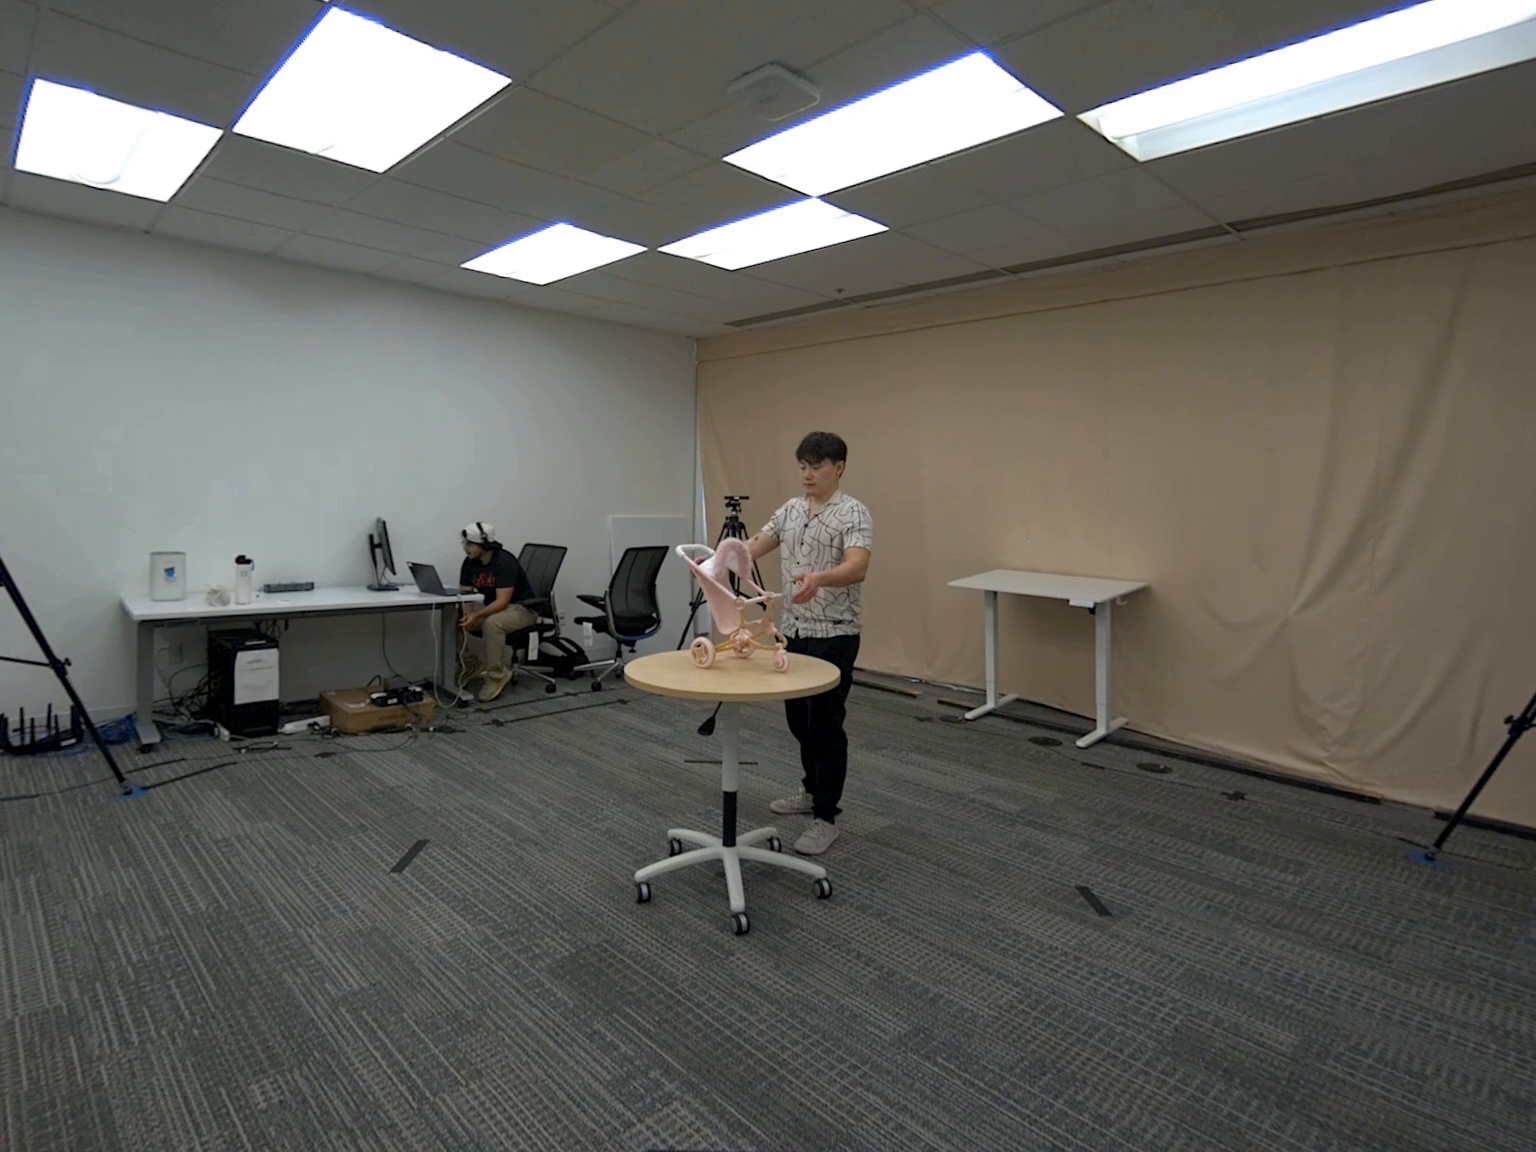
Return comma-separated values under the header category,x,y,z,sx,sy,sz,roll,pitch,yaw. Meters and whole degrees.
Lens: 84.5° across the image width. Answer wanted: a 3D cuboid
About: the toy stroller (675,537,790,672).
category,x,y,z,sx,sy,sz,roll,pitch,yaw
toy stroller,-0.120,0.102,3.036,0.346,0.538,0.275,-17,-8,38
